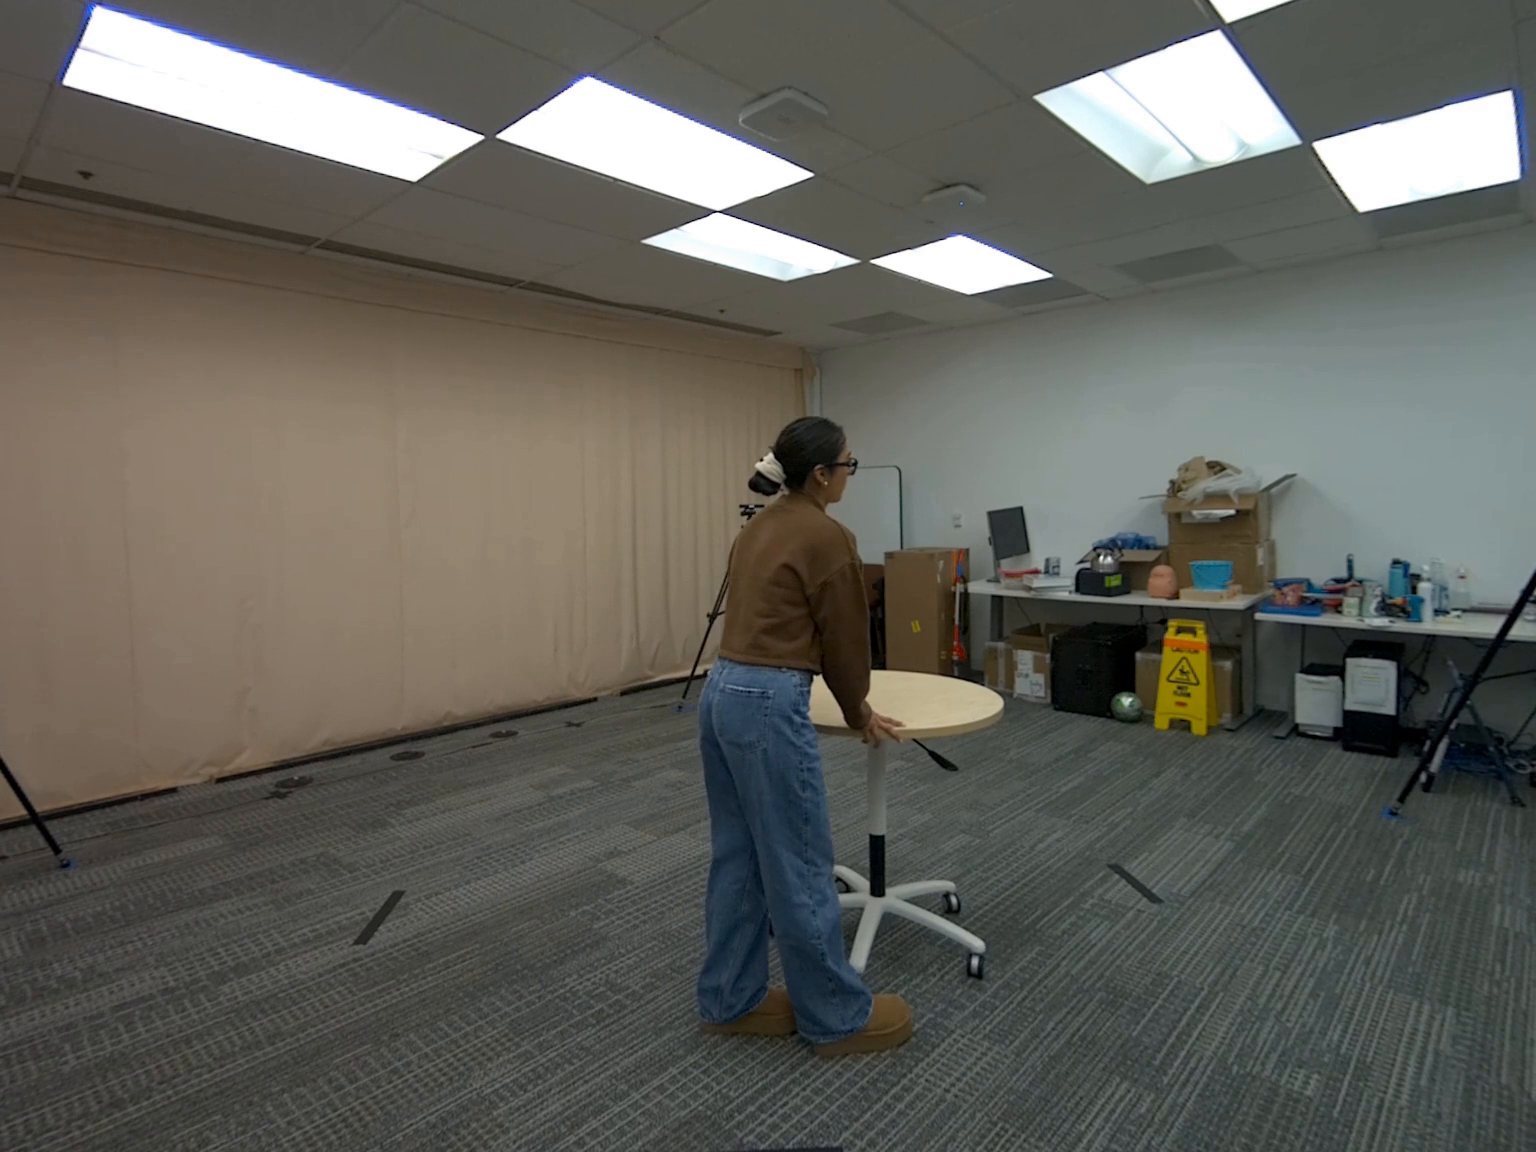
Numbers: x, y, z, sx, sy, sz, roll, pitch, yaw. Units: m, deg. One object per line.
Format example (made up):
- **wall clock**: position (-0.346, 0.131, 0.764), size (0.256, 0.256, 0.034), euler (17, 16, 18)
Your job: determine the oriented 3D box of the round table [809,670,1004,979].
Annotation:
- **round table**: position (0.359, 0.767, 2.661), size (0.784, 0.784, 0.788), euler (-1, 5, -2)
